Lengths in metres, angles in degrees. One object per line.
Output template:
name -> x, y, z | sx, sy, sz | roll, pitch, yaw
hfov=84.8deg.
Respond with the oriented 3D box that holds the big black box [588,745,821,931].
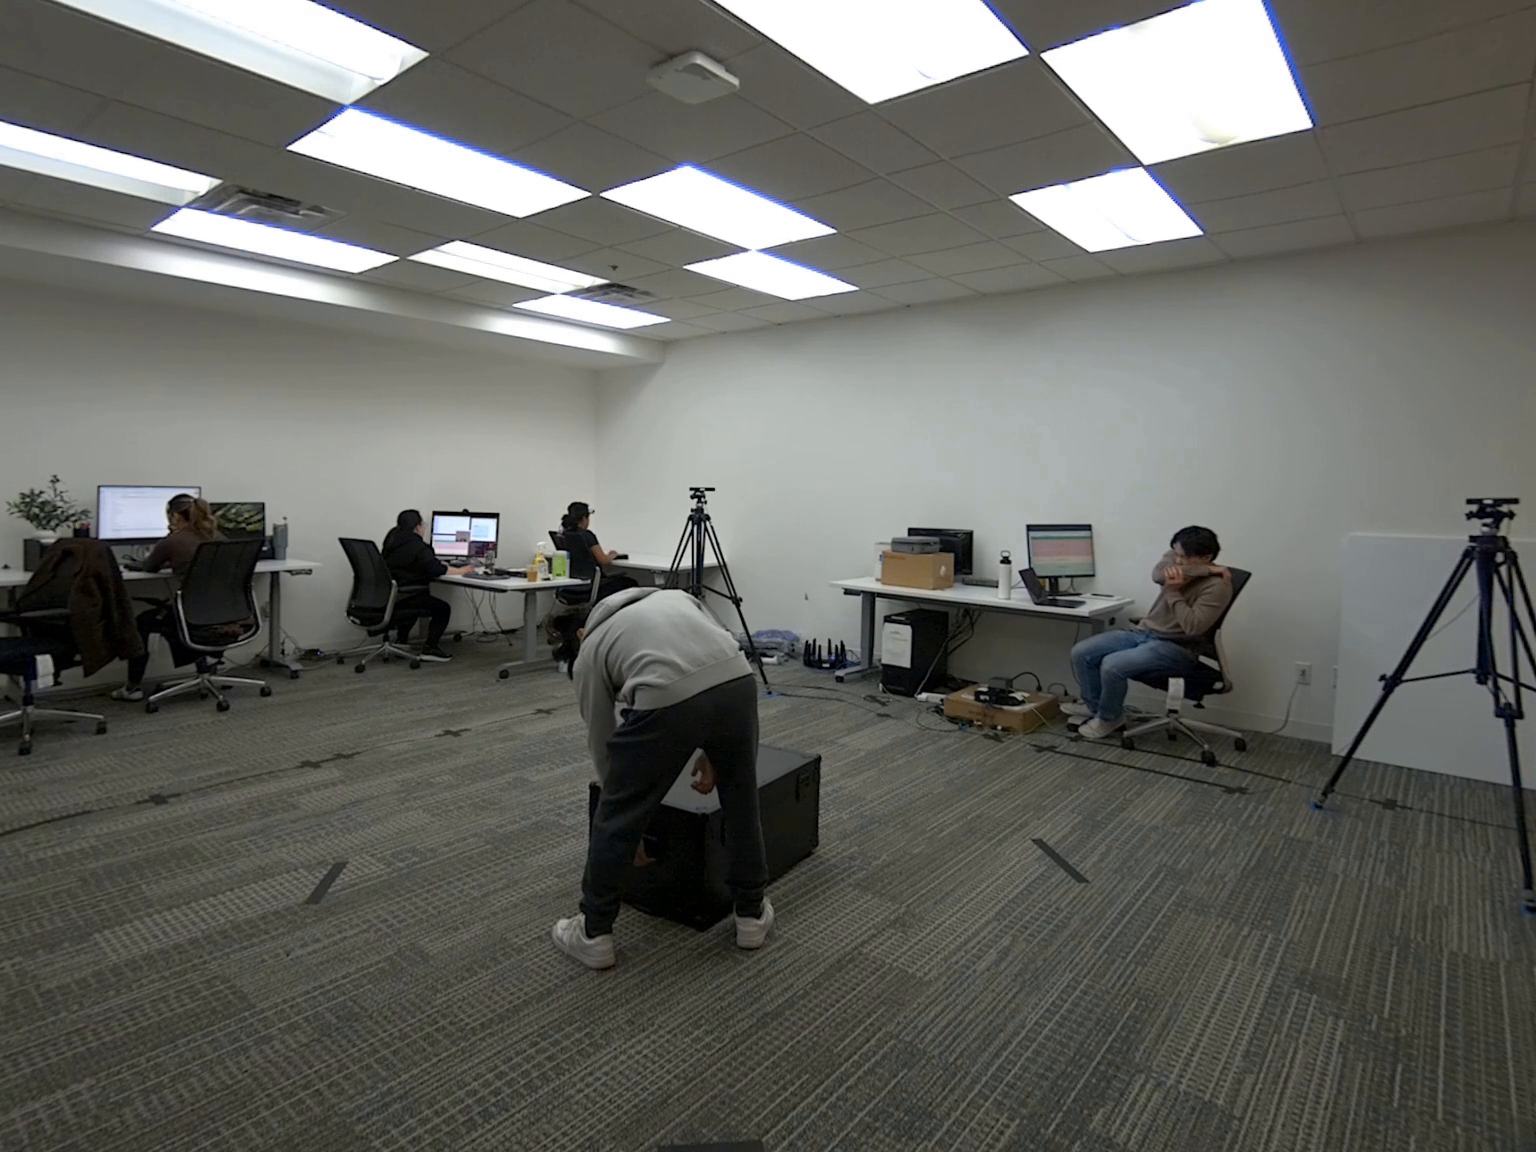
big black box -> -0.194, 0.879, 3.105 | 0.537, 0.395, 0.839 | 4, 6, 31
